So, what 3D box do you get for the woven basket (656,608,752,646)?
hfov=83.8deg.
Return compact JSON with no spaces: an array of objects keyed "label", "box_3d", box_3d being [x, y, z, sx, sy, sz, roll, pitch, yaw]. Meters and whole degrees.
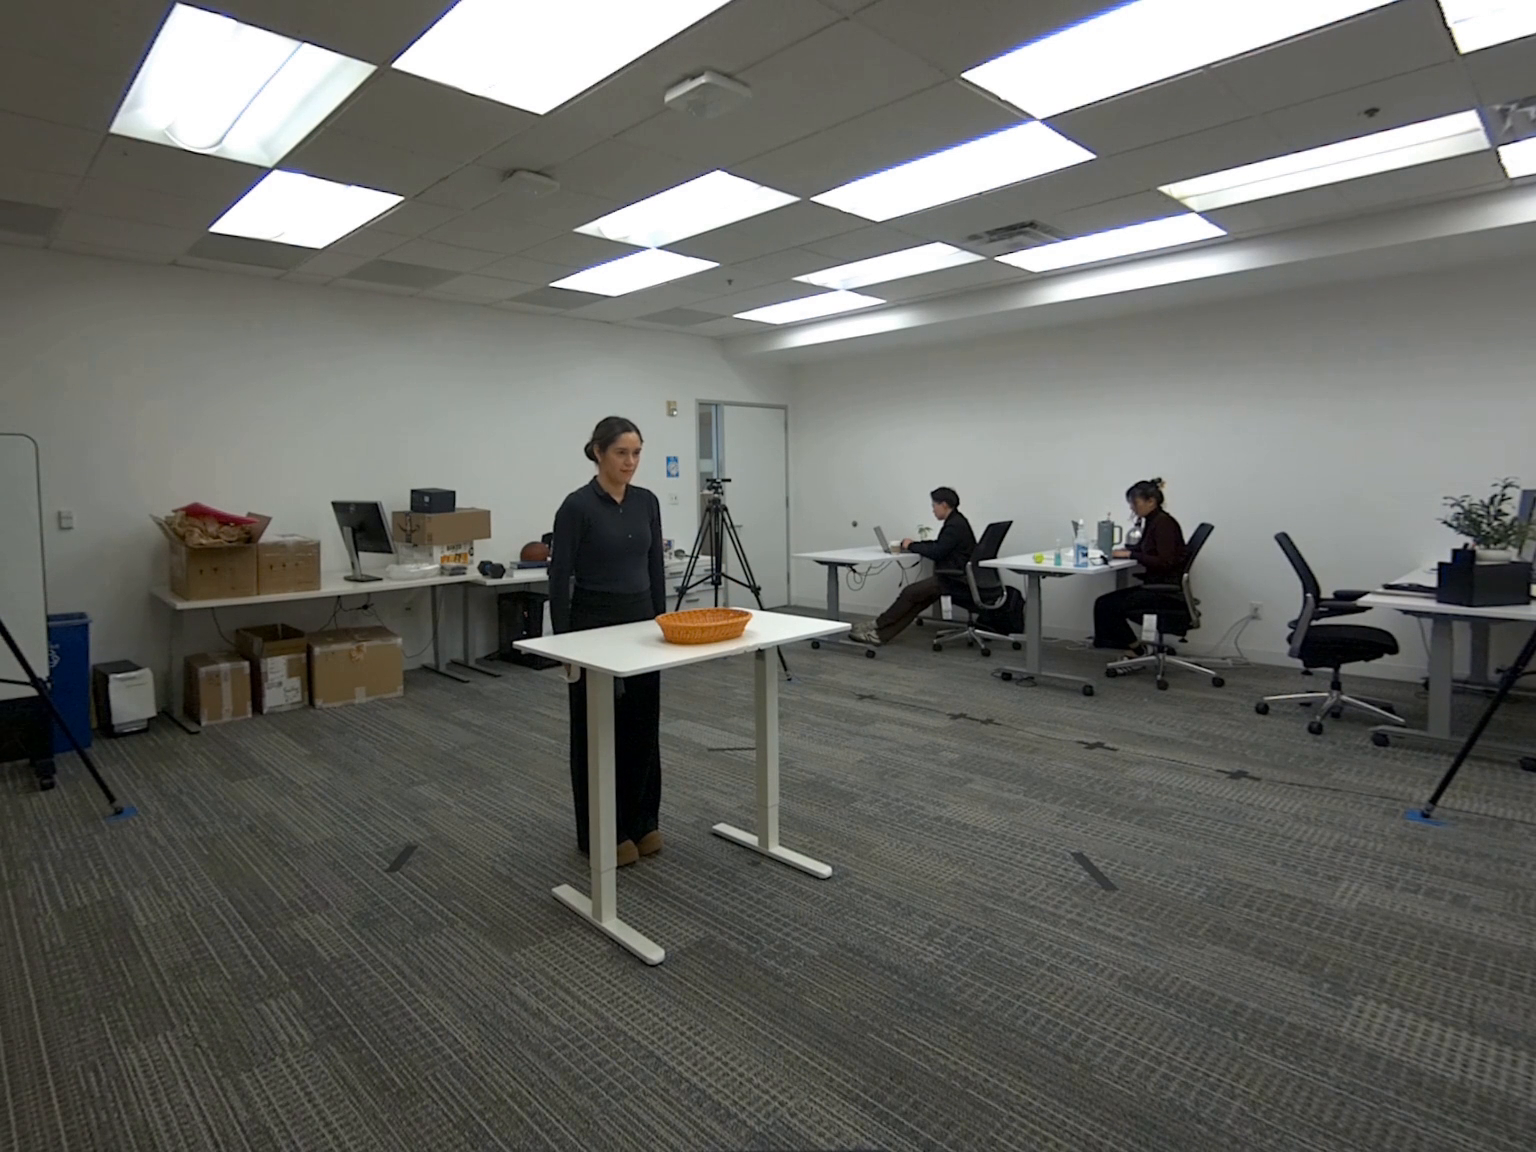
[{"label":"woven basket","box_3d":[-0.207,0.172,2.792,0.341,0.073,0.260,-6,10,-41]}]
